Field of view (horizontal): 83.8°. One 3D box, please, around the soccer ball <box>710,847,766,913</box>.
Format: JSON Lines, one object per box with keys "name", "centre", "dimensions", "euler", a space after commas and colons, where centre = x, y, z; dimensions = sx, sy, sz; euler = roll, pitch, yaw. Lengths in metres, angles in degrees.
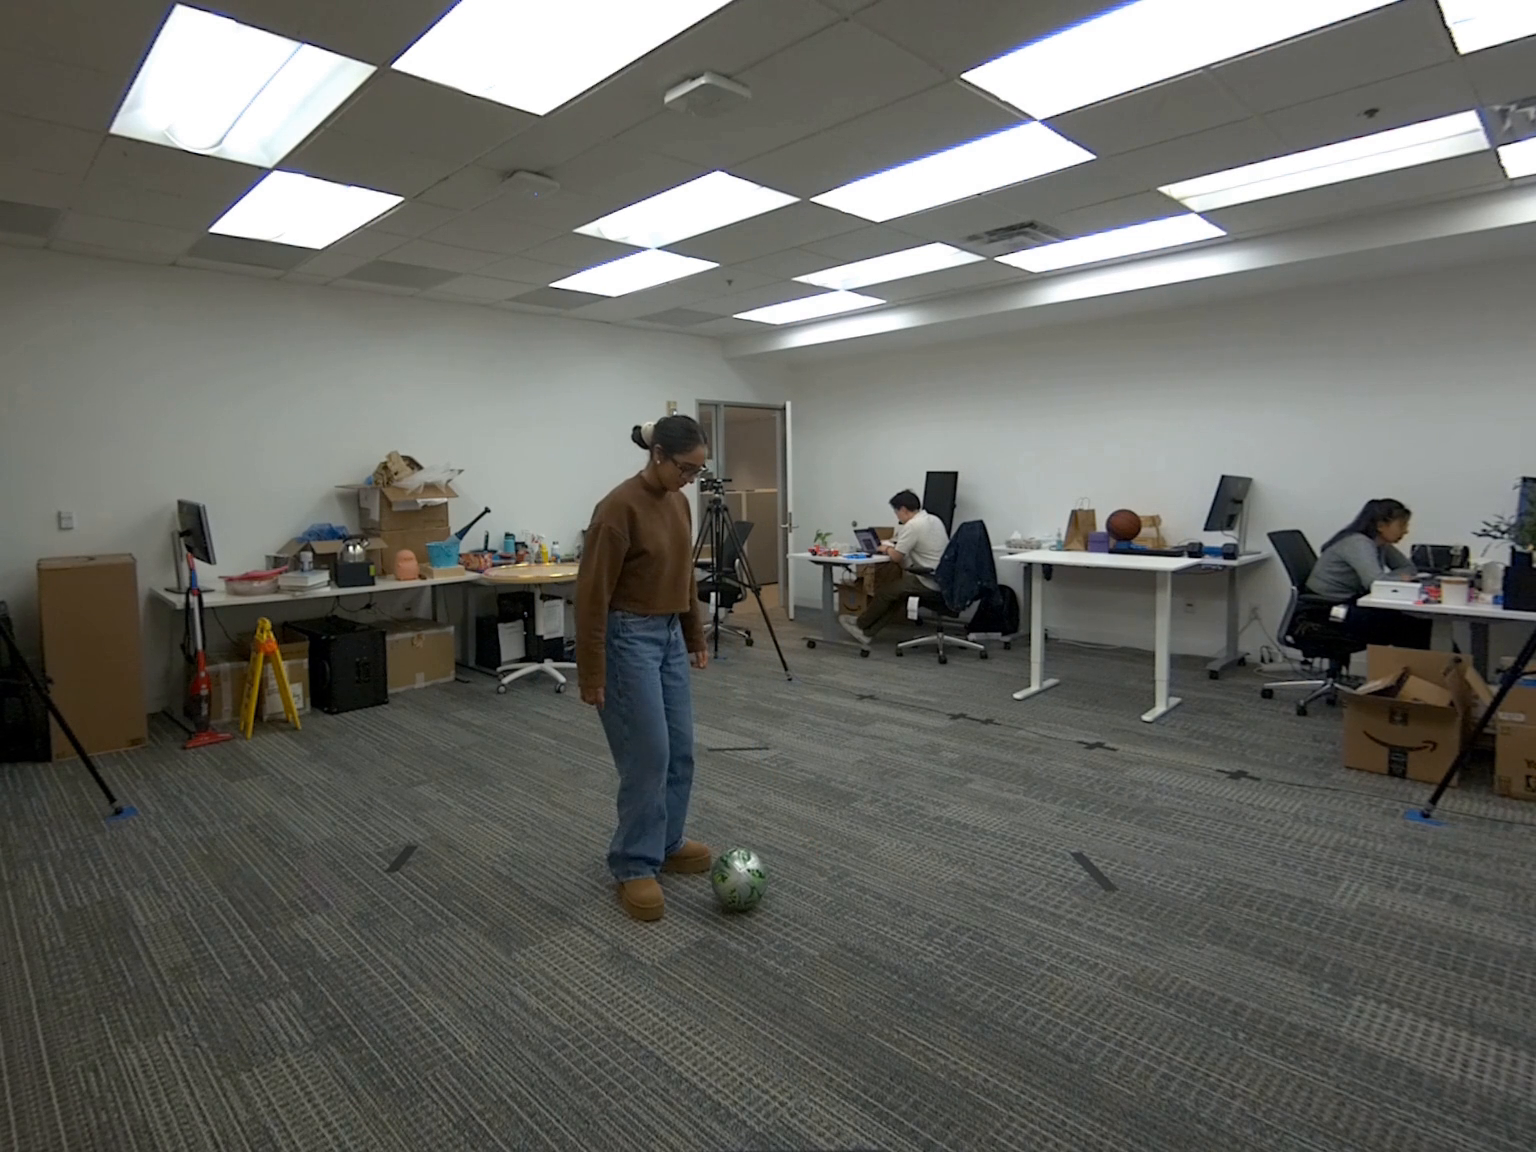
{"name": "soccer ball", "centre": [-0.093, 0.978, 2.782], "dimensions": [0.187, 0.187, 0.188], "euler": [-1, 5, -2]}
